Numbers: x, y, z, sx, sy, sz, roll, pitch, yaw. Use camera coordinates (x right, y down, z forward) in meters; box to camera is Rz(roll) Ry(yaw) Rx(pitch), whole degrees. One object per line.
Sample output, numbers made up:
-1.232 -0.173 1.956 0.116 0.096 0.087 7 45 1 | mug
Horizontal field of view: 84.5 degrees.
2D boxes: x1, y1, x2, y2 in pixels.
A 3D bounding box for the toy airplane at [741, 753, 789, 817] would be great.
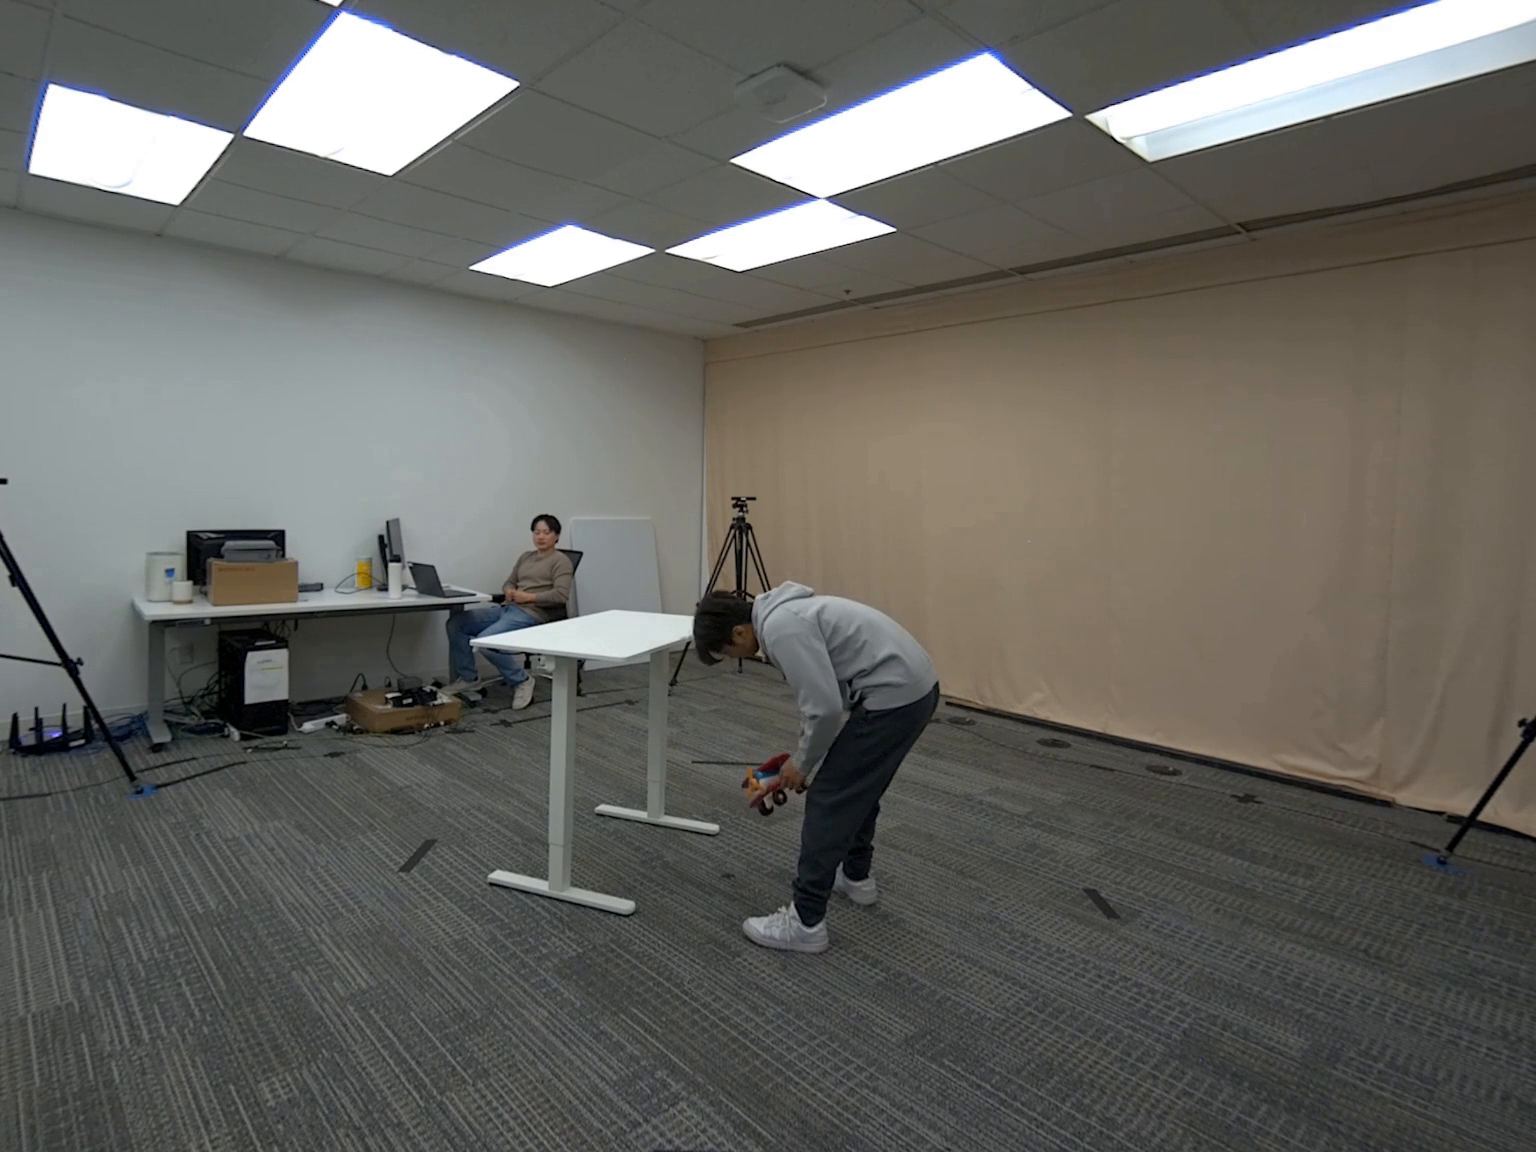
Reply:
0.015 0.759 3.082 0.251 0.159 0.255 -37 -14 7 | toy airplane
